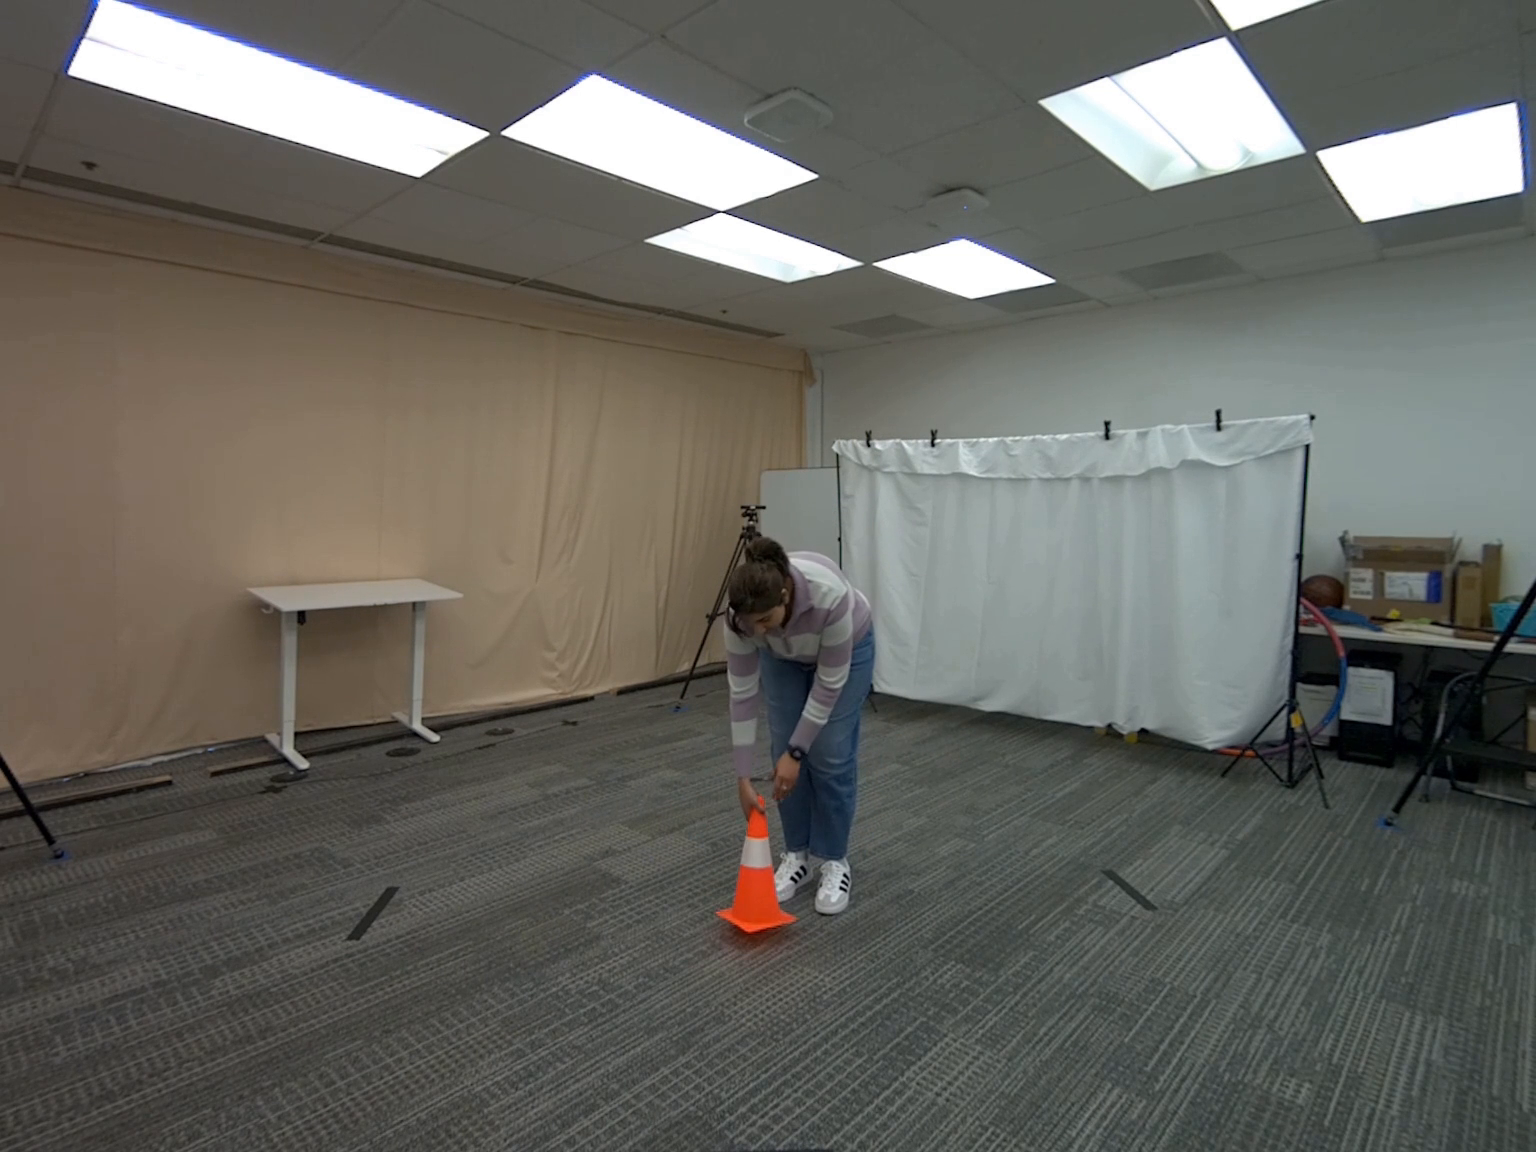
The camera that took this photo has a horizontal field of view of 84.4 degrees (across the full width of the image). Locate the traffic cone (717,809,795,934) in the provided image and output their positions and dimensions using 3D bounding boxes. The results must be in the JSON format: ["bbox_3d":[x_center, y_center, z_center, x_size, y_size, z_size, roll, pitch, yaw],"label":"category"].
[{"bbox_3d":[-0.033,0.917,2.747,0.198,0.385,0.209,5,-5,-38],"label":"traffic cone"}]
